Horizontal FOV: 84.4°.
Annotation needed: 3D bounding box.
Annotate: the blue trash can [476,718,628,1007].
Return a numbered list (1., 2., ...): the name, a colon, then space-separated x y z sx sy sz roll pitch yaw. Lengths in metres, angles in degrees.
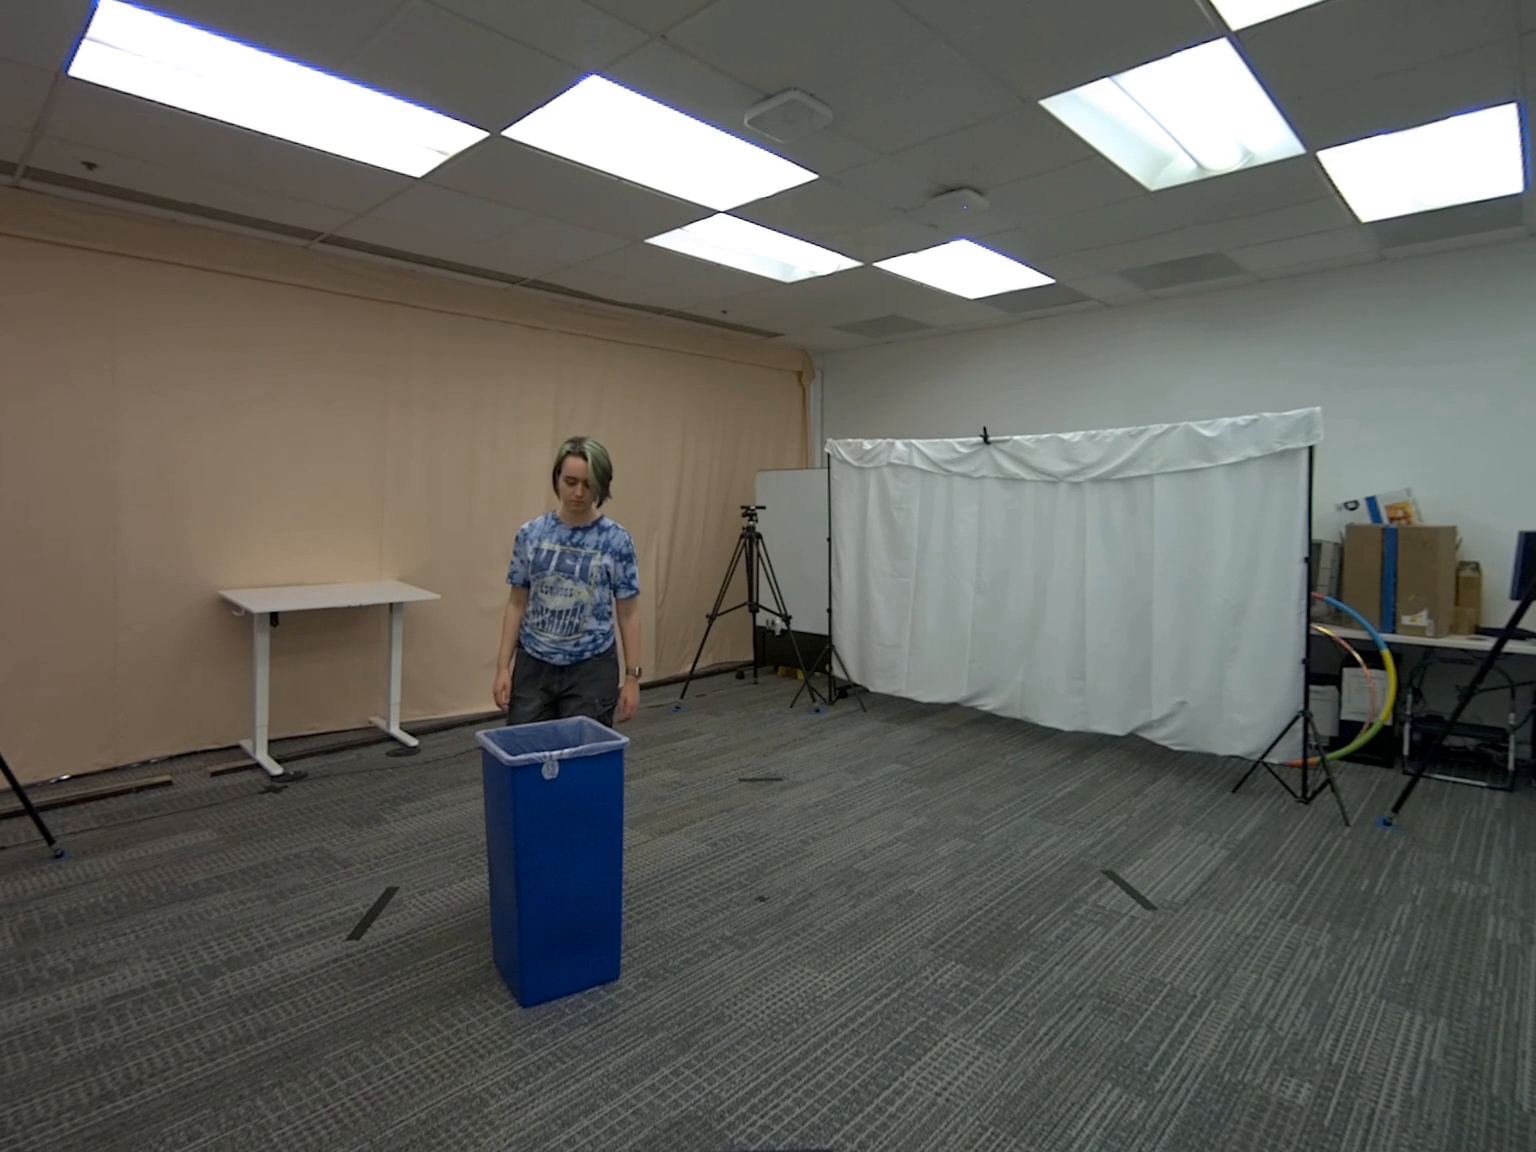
1. blue trash can: -0.649 0.831 2.522 0.367 0.712 0.385 -2 3 -33
